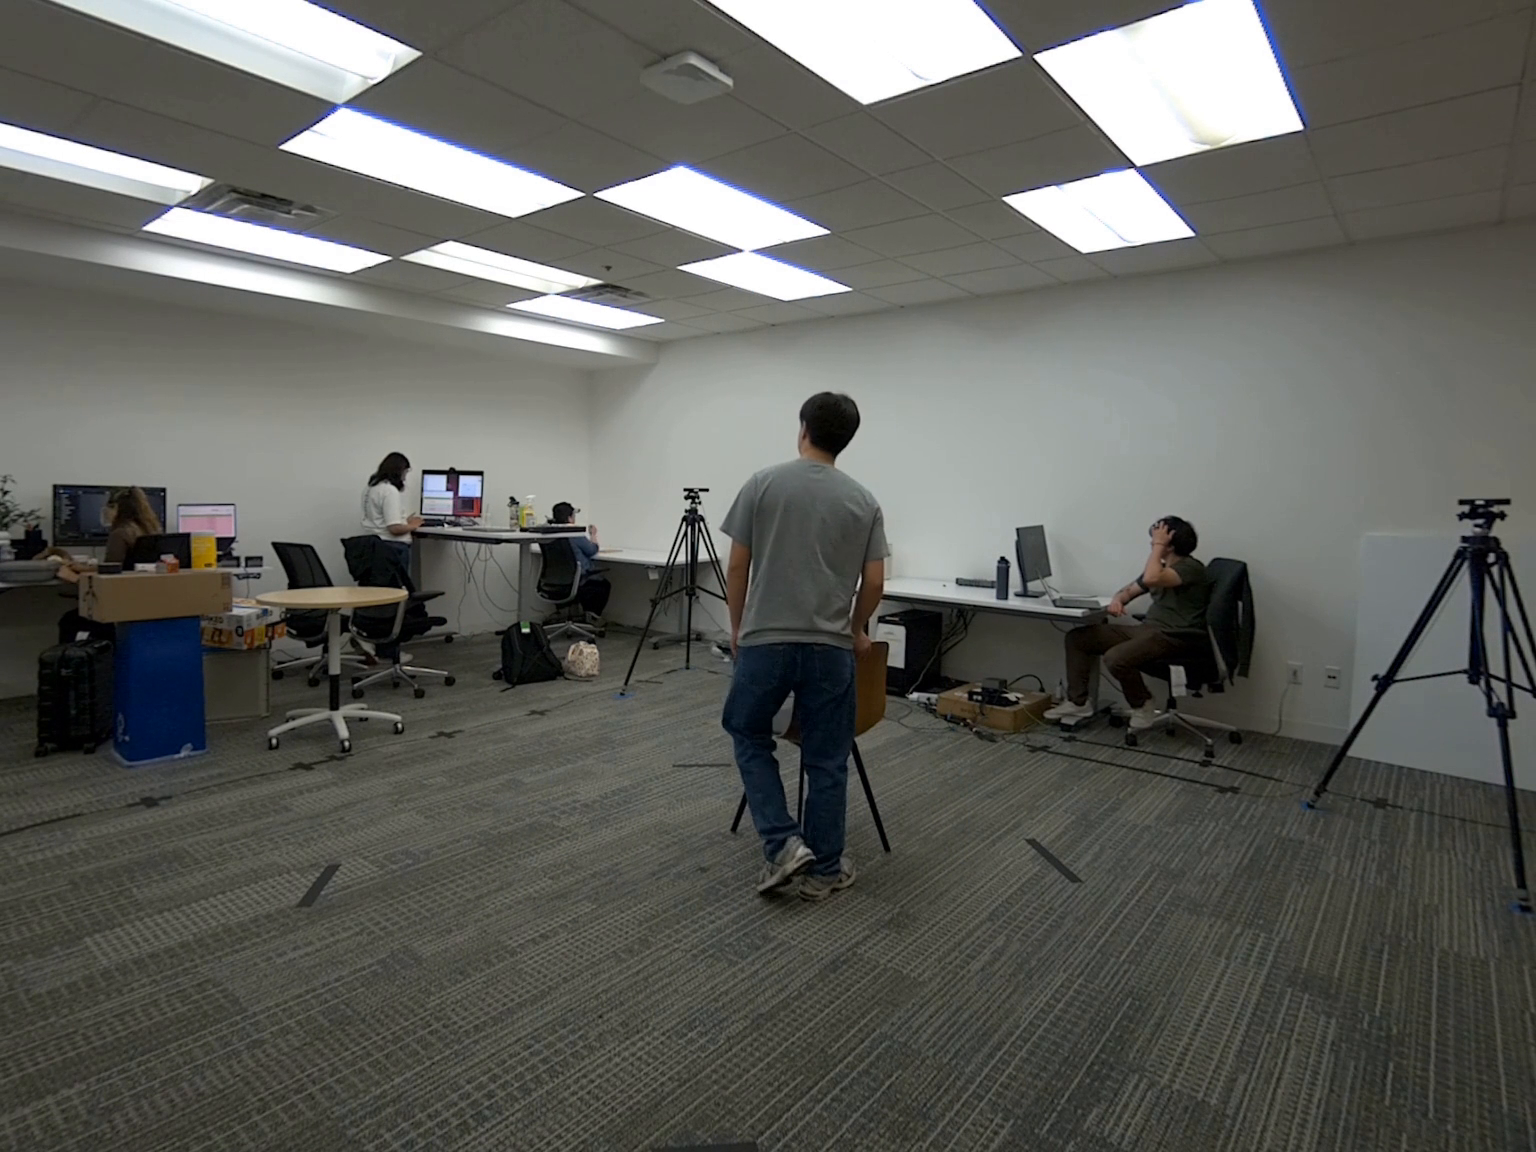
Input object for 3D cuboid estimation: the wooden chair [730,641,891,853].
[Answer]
[{"bbox_3d":[0.157,0.623,3.362,0.464,0.872,0.541,-1,8,-33],"label":"wooden chair"}]
